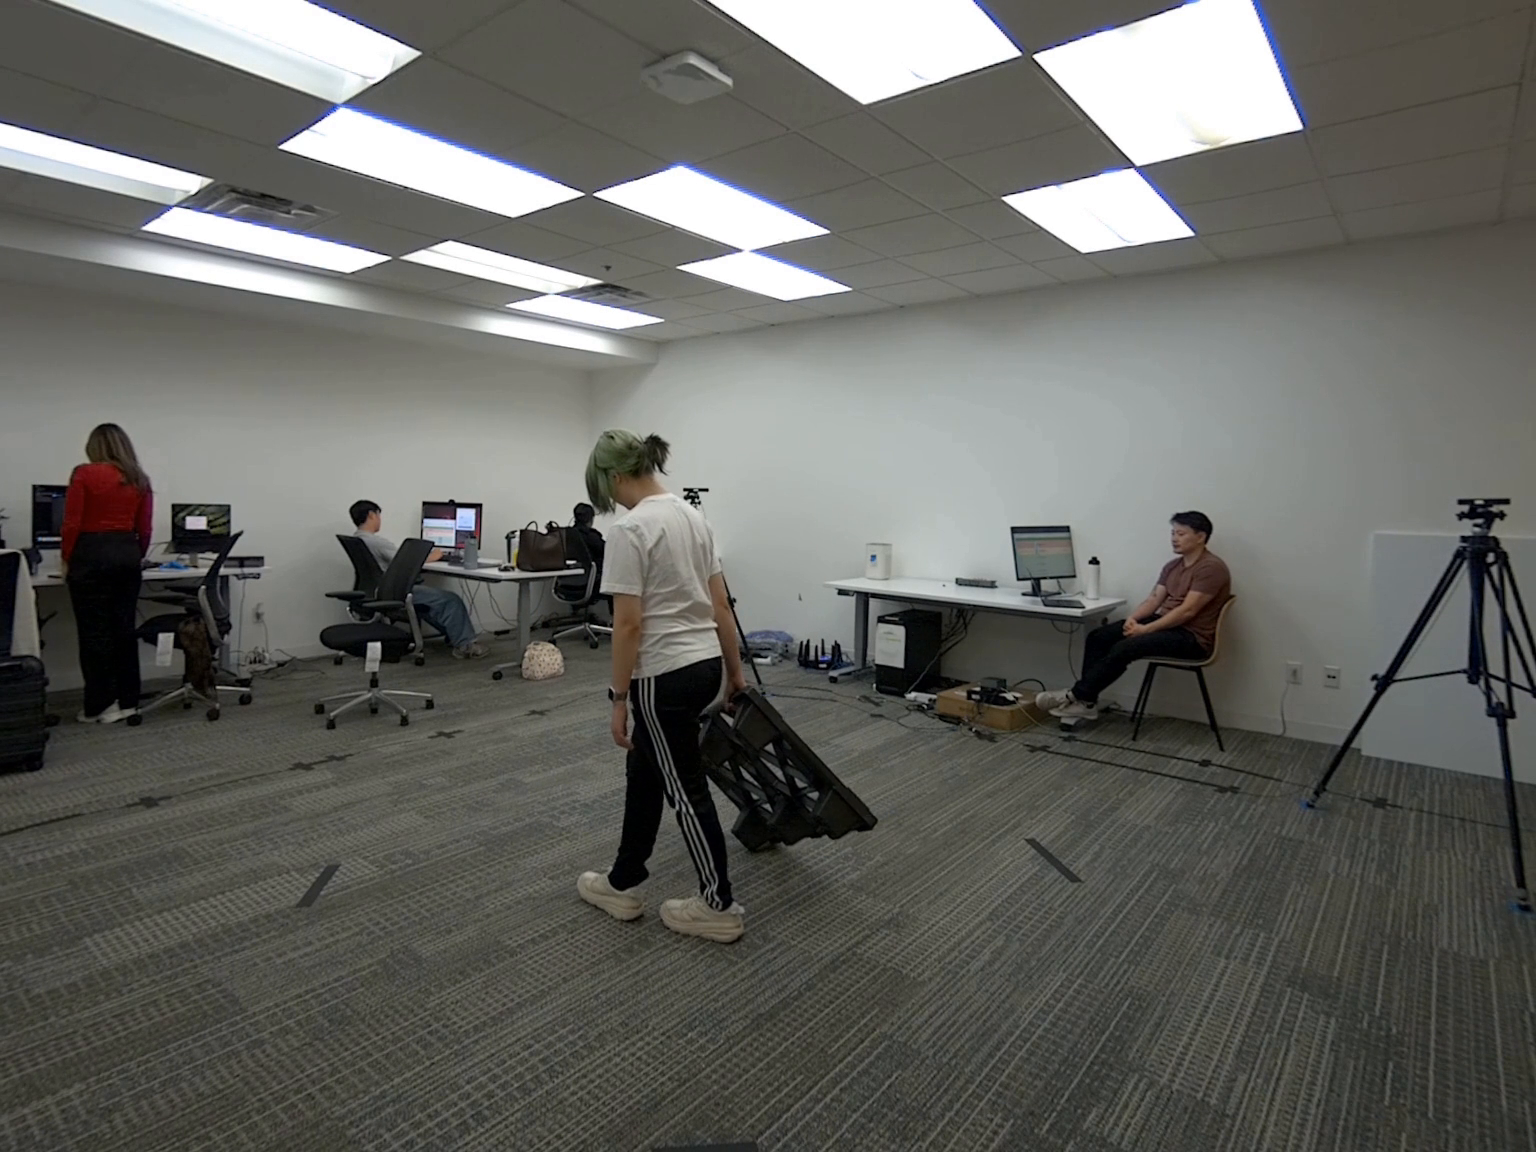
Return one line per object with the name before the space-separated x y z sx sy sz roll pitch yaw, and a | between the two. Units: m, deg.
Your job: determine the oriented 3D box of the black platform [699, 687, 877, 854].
black platform | -0.059 0.726 3.013 0.143 0.607 0.807 -41 -1 -30
